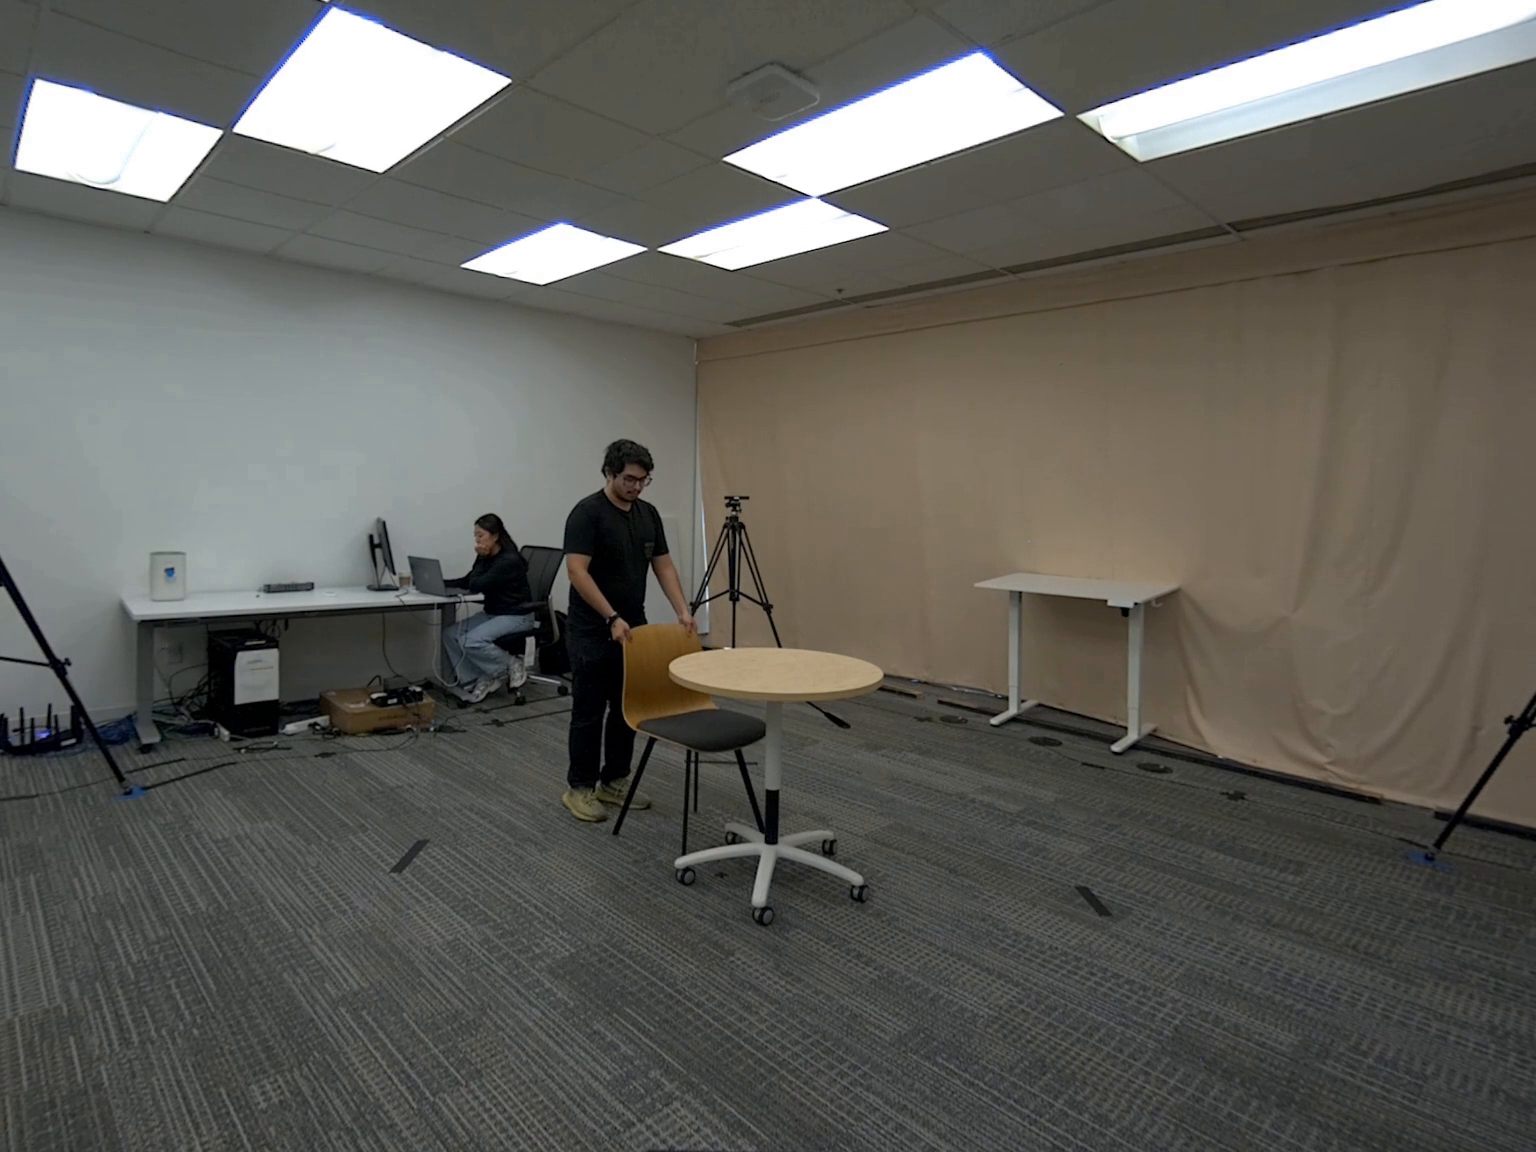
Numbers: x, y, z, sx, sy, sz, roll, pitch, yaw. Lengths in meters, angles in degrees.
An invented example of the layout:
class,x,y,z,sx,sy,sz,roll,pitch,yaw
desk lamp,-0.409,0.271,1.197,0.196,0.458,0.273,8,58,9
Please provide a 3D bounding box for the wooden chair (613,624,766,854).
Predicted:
class,x,y,z,sx,sy,sz,roll,pitch,yaw
wooden chair,-0.307,0.646,3.392,0.467,0.878,0.535,-1,-1,-44
